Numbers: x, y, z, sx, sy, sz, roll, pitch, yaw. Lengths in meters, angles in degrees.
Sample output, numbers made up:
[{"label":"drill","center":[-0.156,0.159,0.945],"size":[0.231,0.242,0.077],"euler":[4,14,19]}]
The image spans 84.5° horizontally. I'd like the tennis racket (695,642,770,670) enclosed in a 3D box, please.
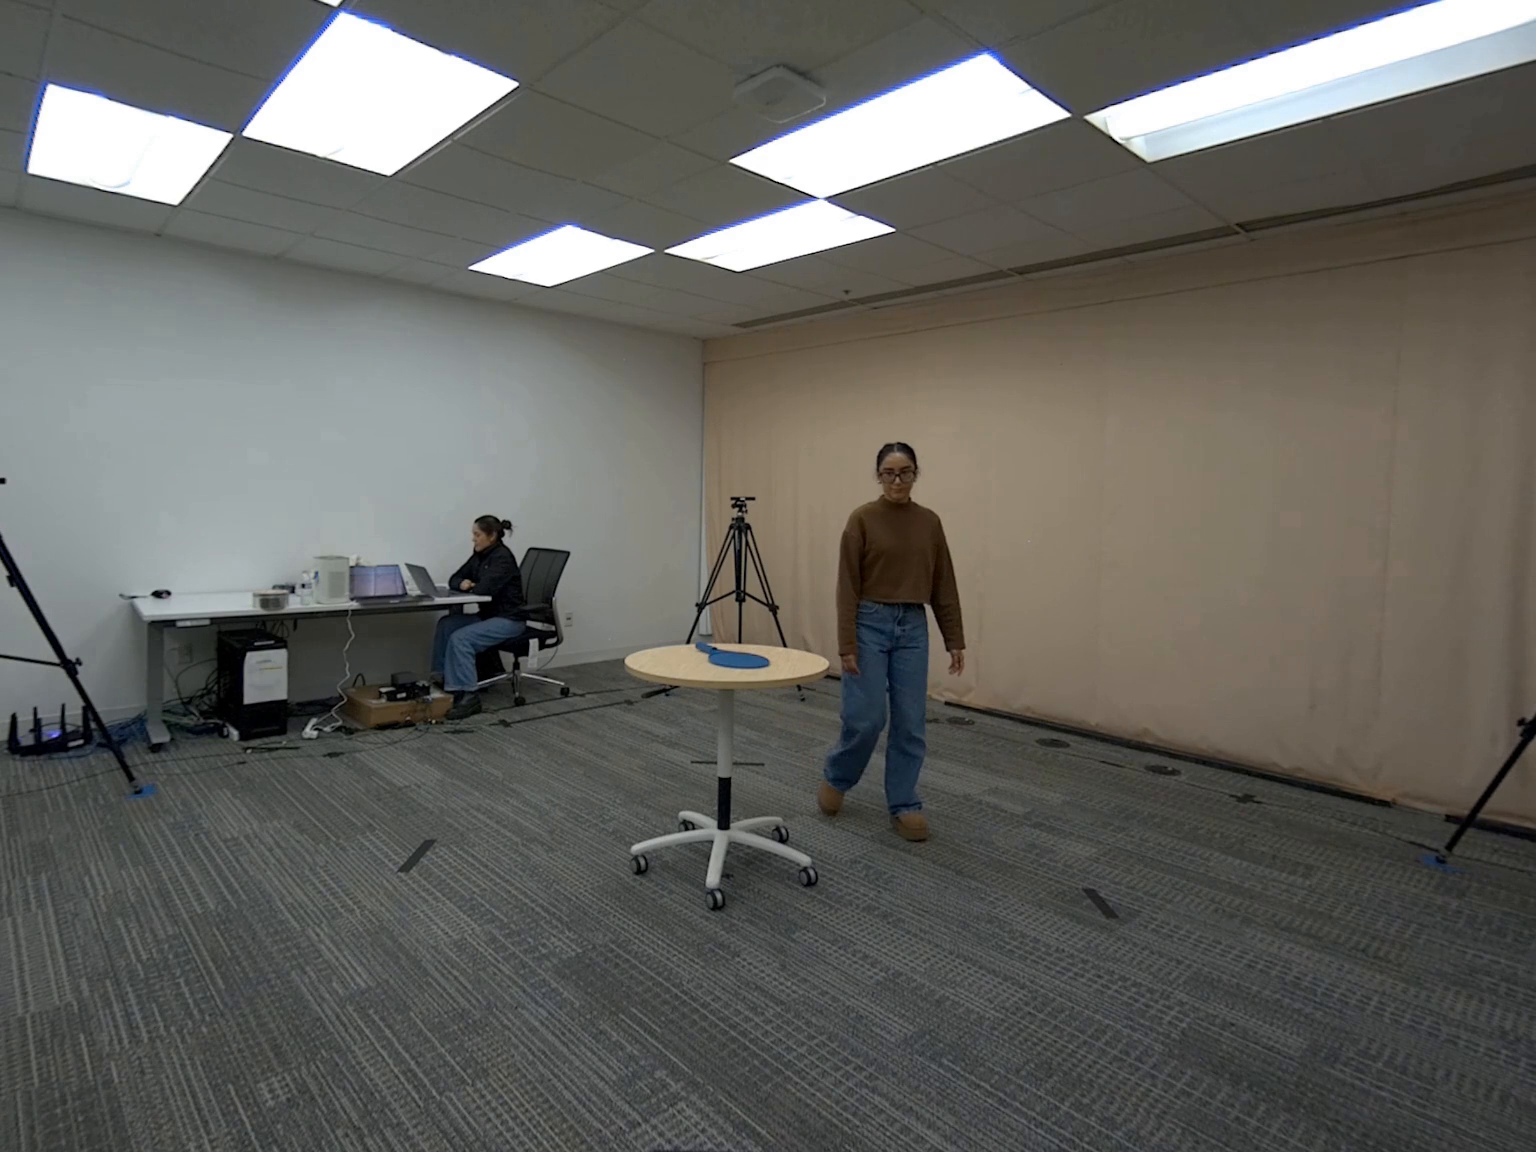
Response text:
[{"label":"tennis racket","center":[-0.166,0.309,3.201],"size":[0.209,0.031,0.443],"euler":[-2,7,-31]}]
